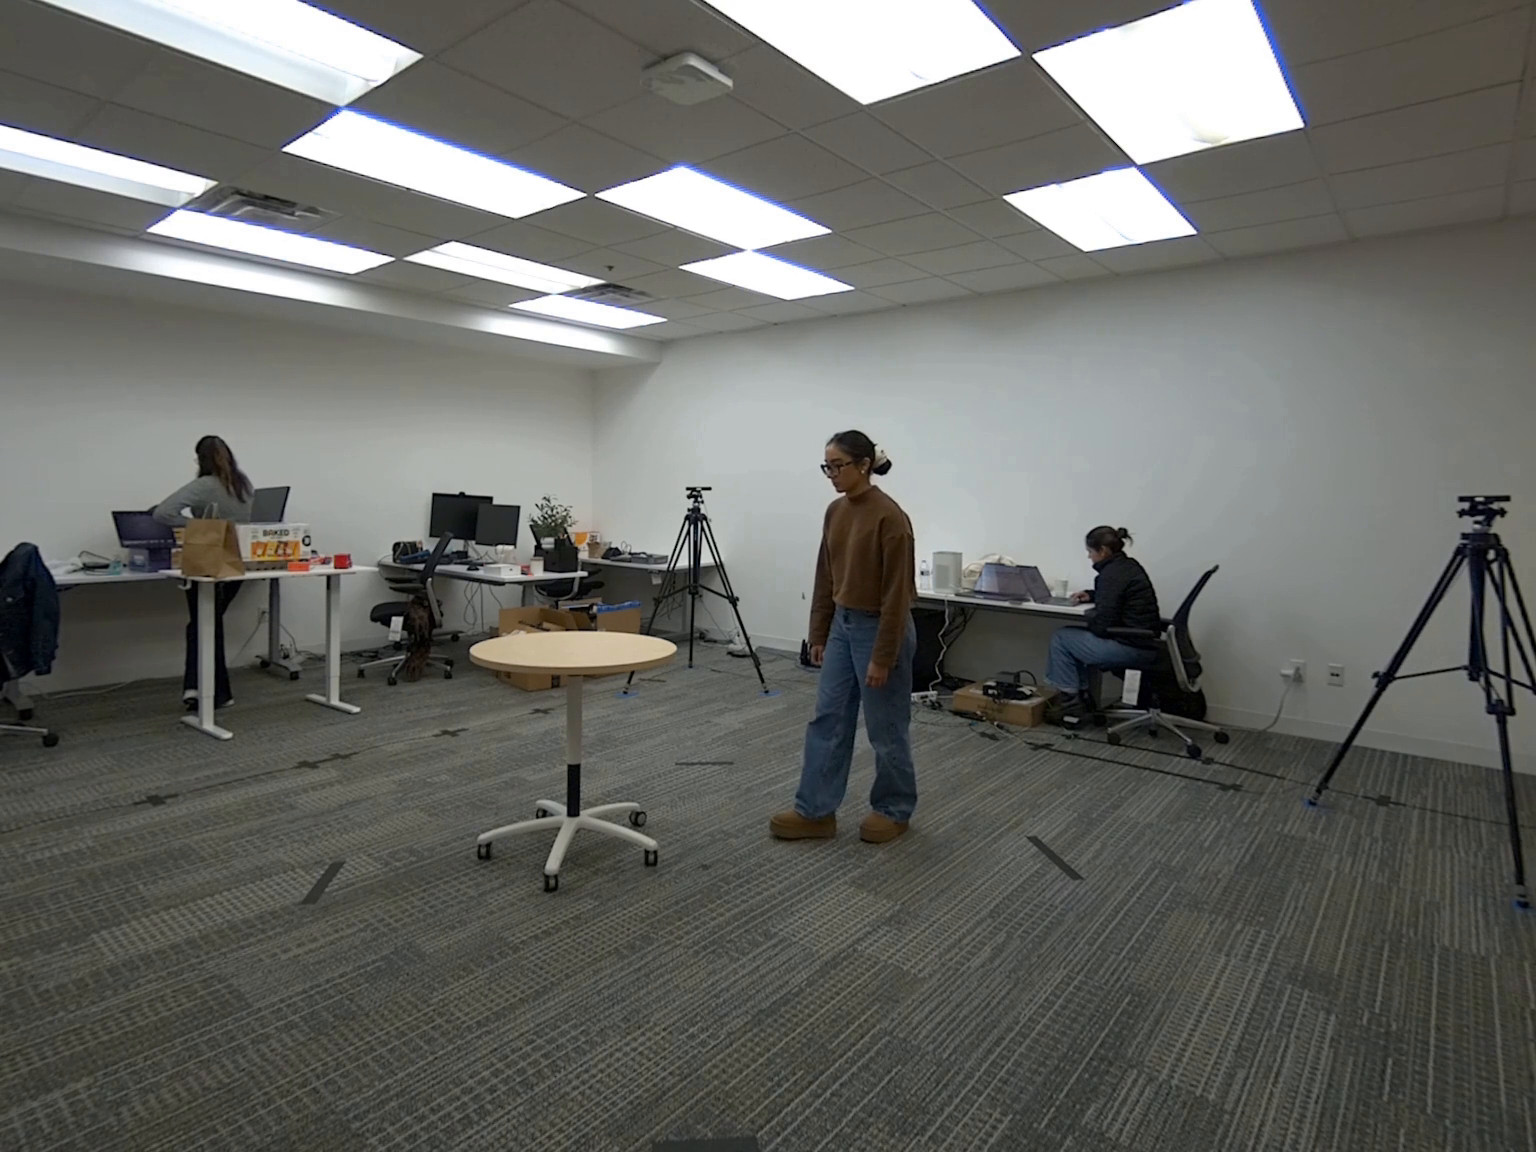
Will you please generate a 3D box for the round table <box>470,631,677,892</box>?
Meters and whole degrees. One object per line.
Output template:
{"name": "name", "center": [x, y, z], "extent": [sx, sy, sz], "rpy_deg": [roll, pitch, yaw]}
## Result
{"name": "round table", "center": [-0.753, 0.651, 3.238], "extent": [0.784, 0.784, 0.789], "rpy_deg": [1, 4, -2]}
